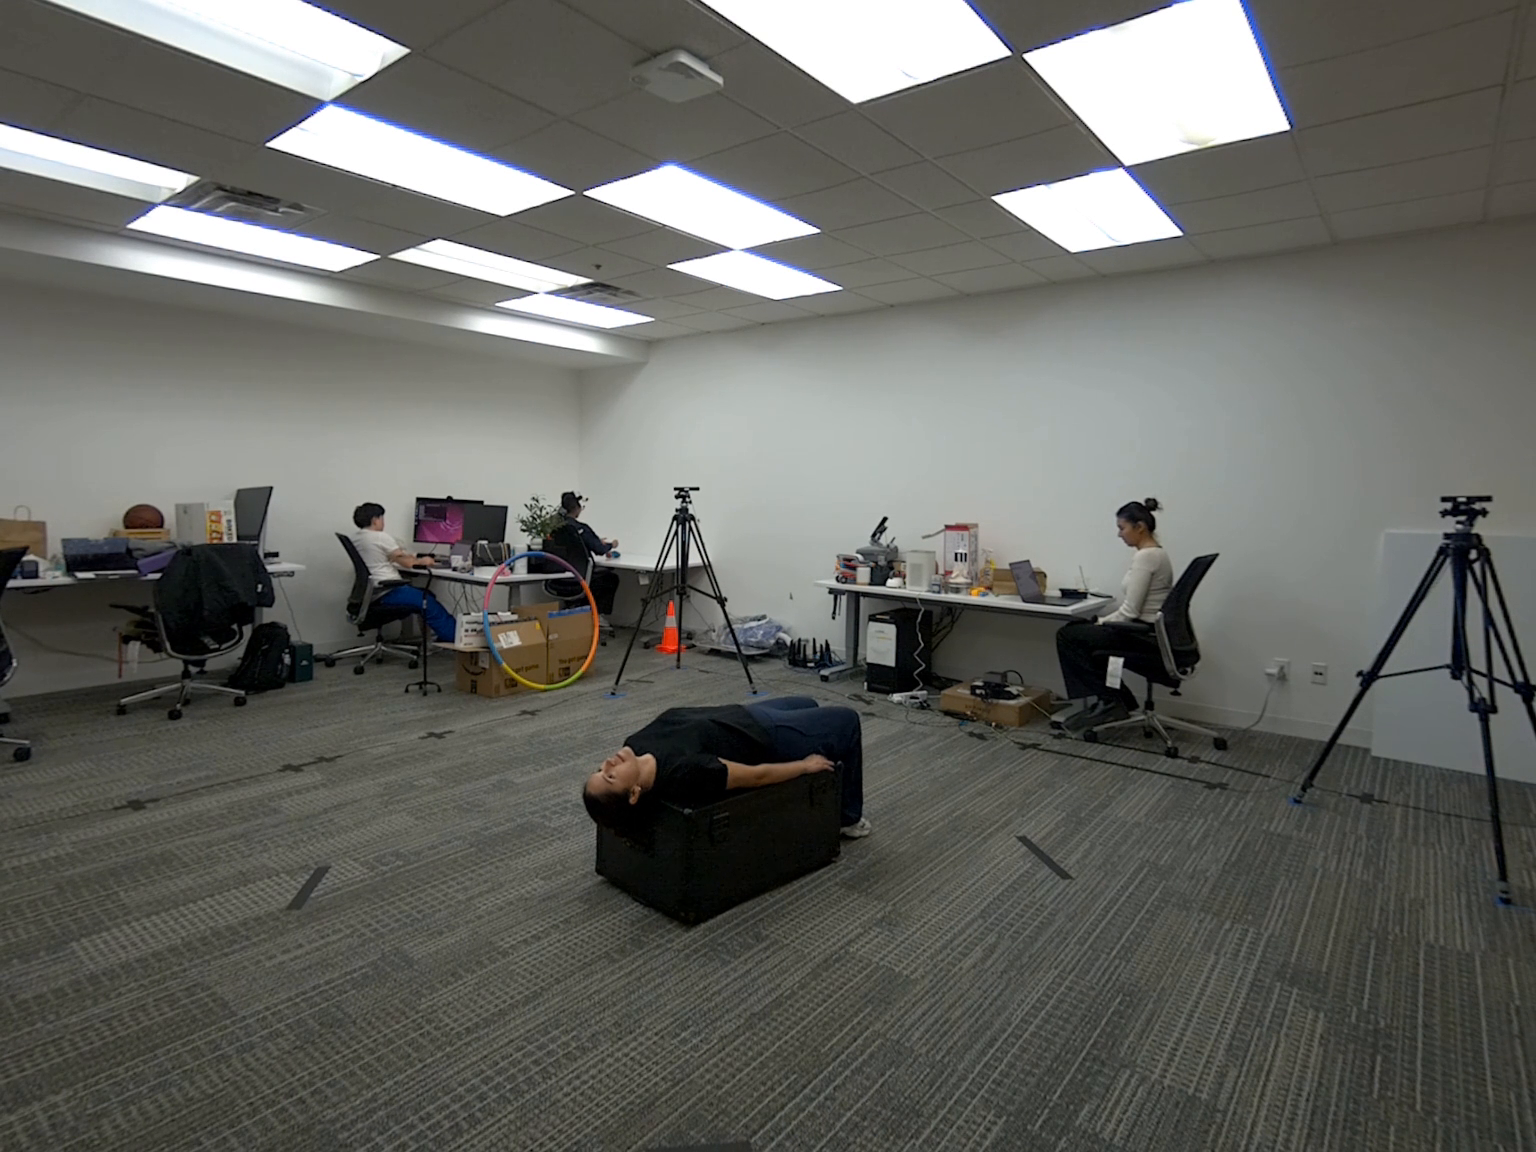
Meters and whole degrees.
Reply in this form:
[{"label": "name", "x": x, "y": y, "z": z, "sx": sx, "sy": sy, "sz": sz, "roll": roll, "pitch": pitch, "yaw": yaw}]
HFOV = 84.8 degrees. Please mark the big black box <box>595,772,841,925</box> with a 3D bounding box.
[{"label": "big black box", "x": -0.173, "y": 0.891, "z": 3.082, "sx": 0.835, "sy": 0.395, "sz": 0.539, "roll": -2, "pitch": 5, "yaw": -45}]
